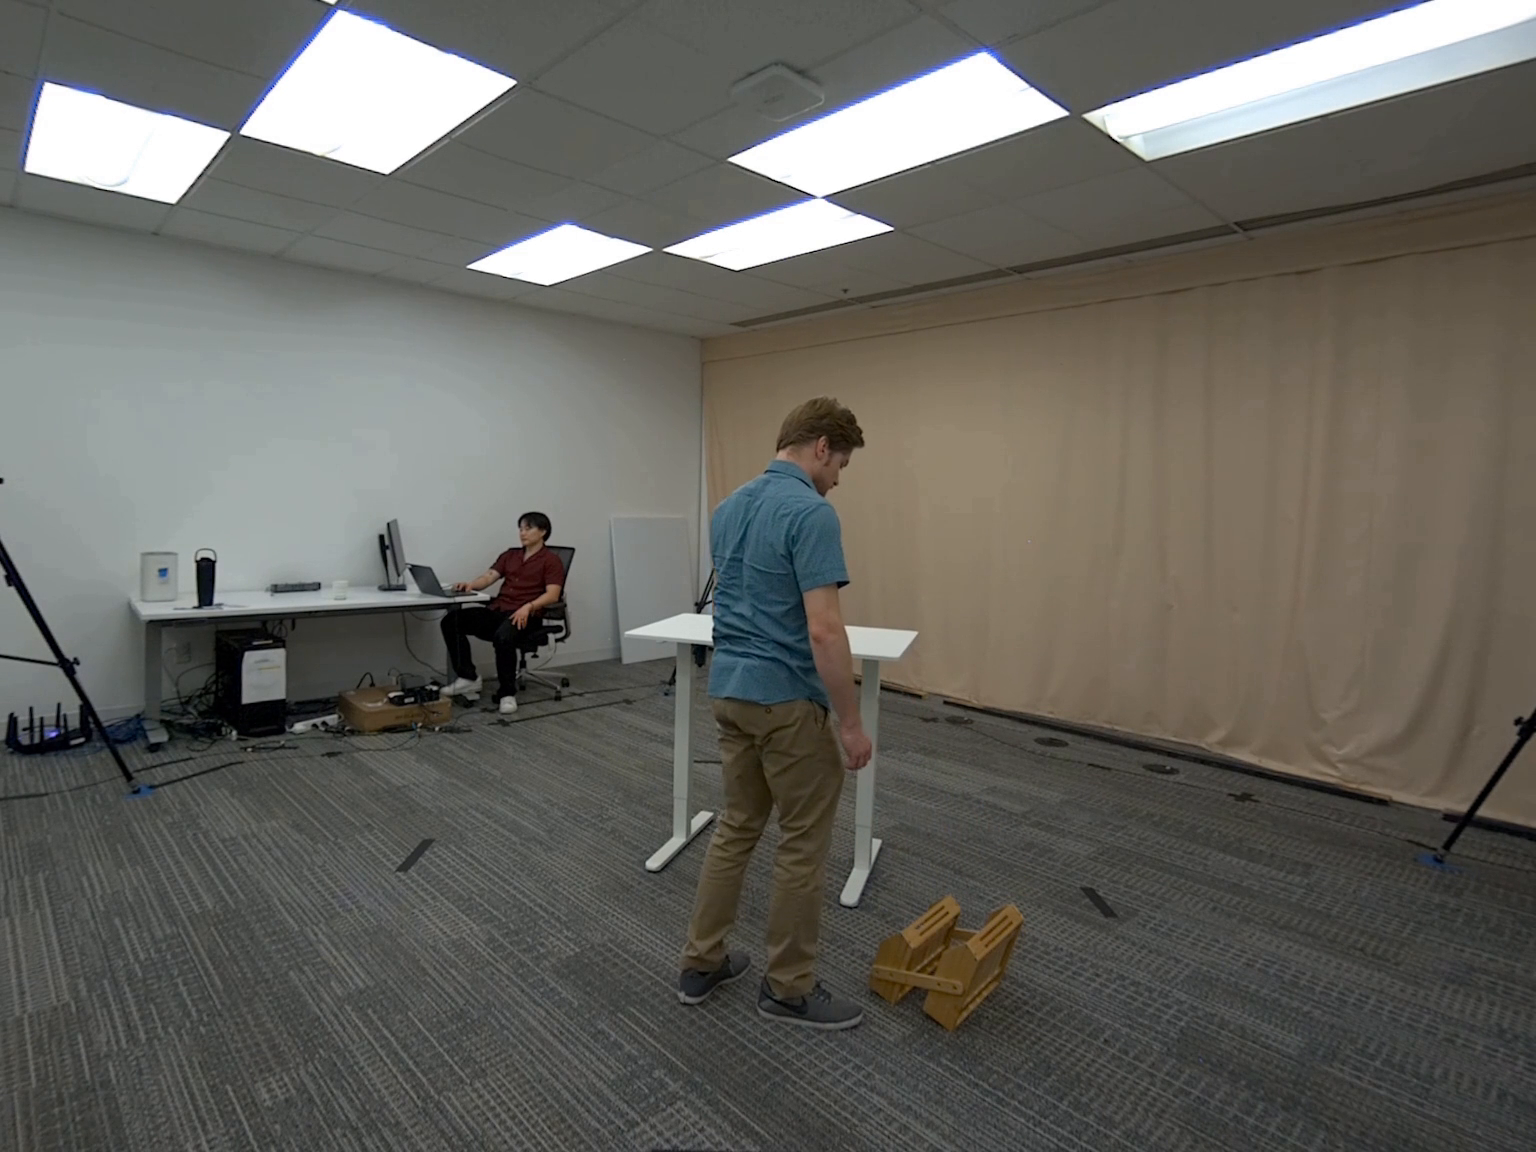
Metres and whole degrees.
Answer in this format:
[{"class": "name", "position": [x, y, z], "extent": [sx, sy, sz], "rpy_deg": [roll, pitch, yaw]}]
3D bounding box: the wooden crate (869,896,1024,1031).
[{"class": "wooden crate", "position": [0.494, 1.053, 2.385], "extent": [0.281, 0.300, 0.317], "rpy_deg": [25, 18, 34]}]
